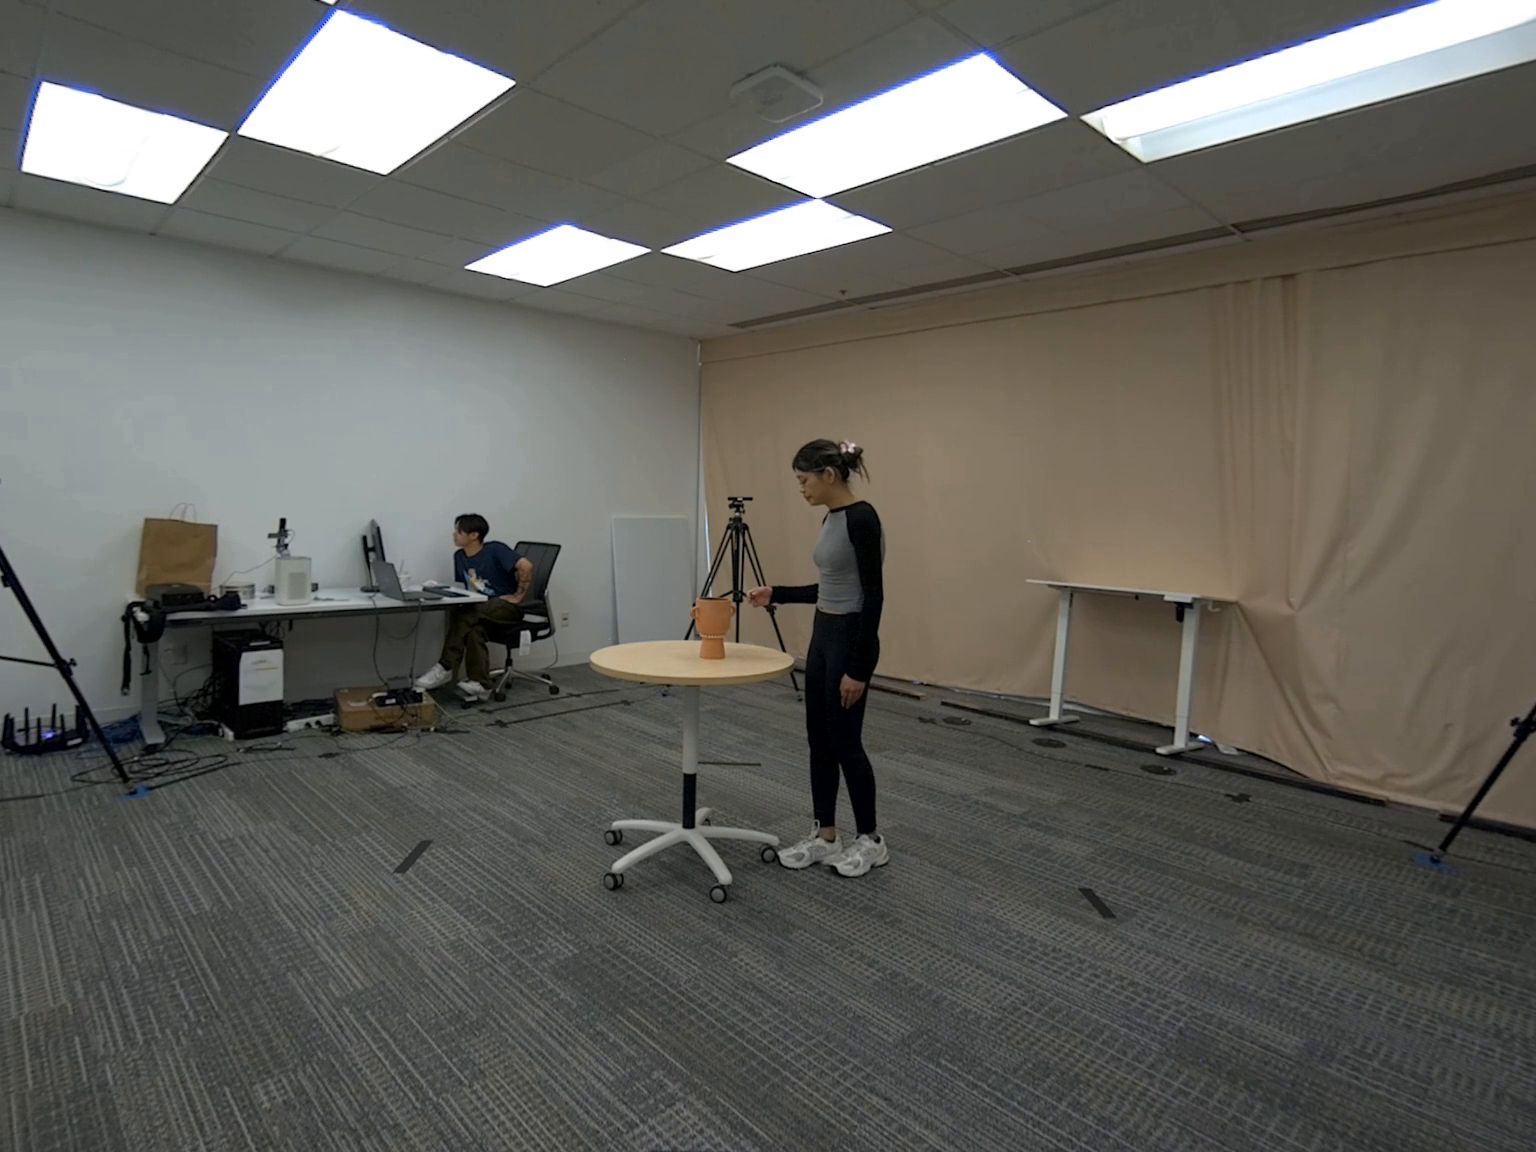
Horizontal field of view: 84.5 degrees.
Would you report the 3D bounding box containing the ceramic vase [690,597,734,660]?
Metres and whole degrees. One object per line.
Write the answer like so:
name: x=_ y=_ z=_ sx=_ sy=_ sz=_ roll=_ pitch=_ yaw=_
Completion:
ceramic vase: x=-0.210 y=0.195 z=3.170 sx=0.160 sy=0.219 sz=0.134 roll=1 pitch=4 yaw=6
